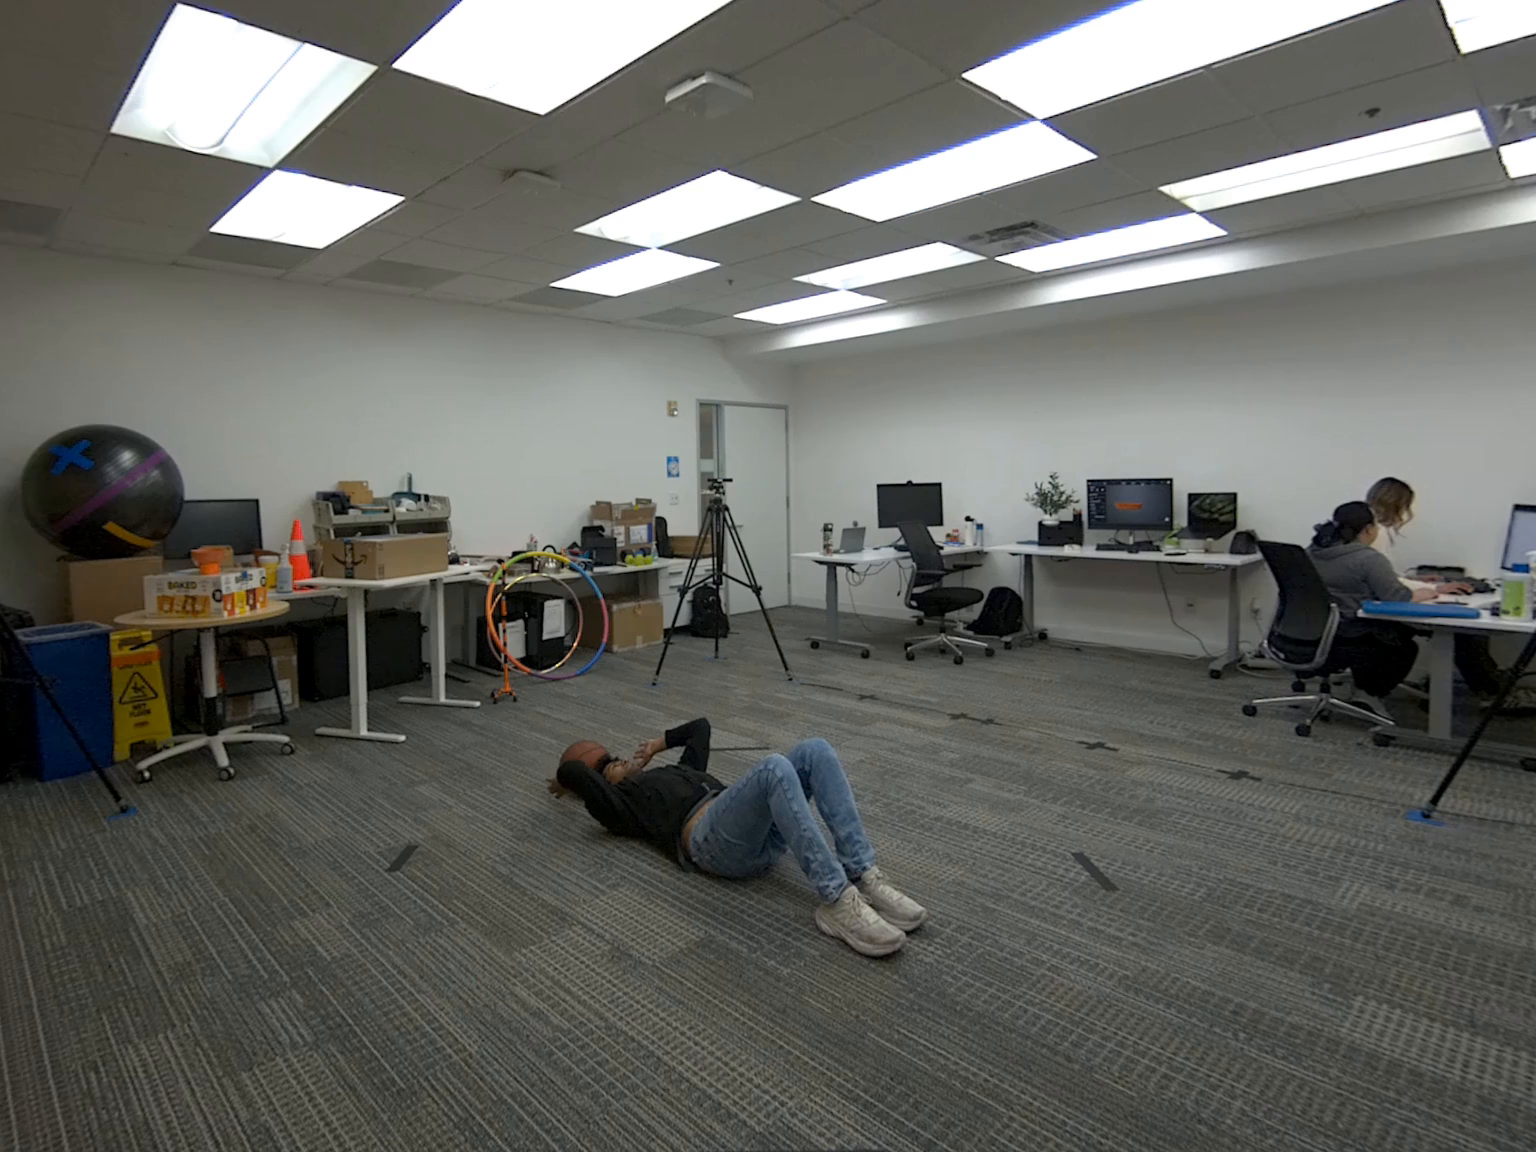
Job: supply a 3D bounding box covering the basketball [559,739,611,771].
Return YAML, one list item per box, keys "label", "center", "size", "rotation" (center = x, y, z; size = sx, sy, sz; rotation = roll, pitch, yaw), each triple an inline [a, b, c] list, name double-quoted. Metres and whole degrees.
- label: "basketball"
  center: [-0.796, 0.846, 3.813]
  size: [0.236, 0.235, 0.237]
  rotation: [-1, 5, -2]
